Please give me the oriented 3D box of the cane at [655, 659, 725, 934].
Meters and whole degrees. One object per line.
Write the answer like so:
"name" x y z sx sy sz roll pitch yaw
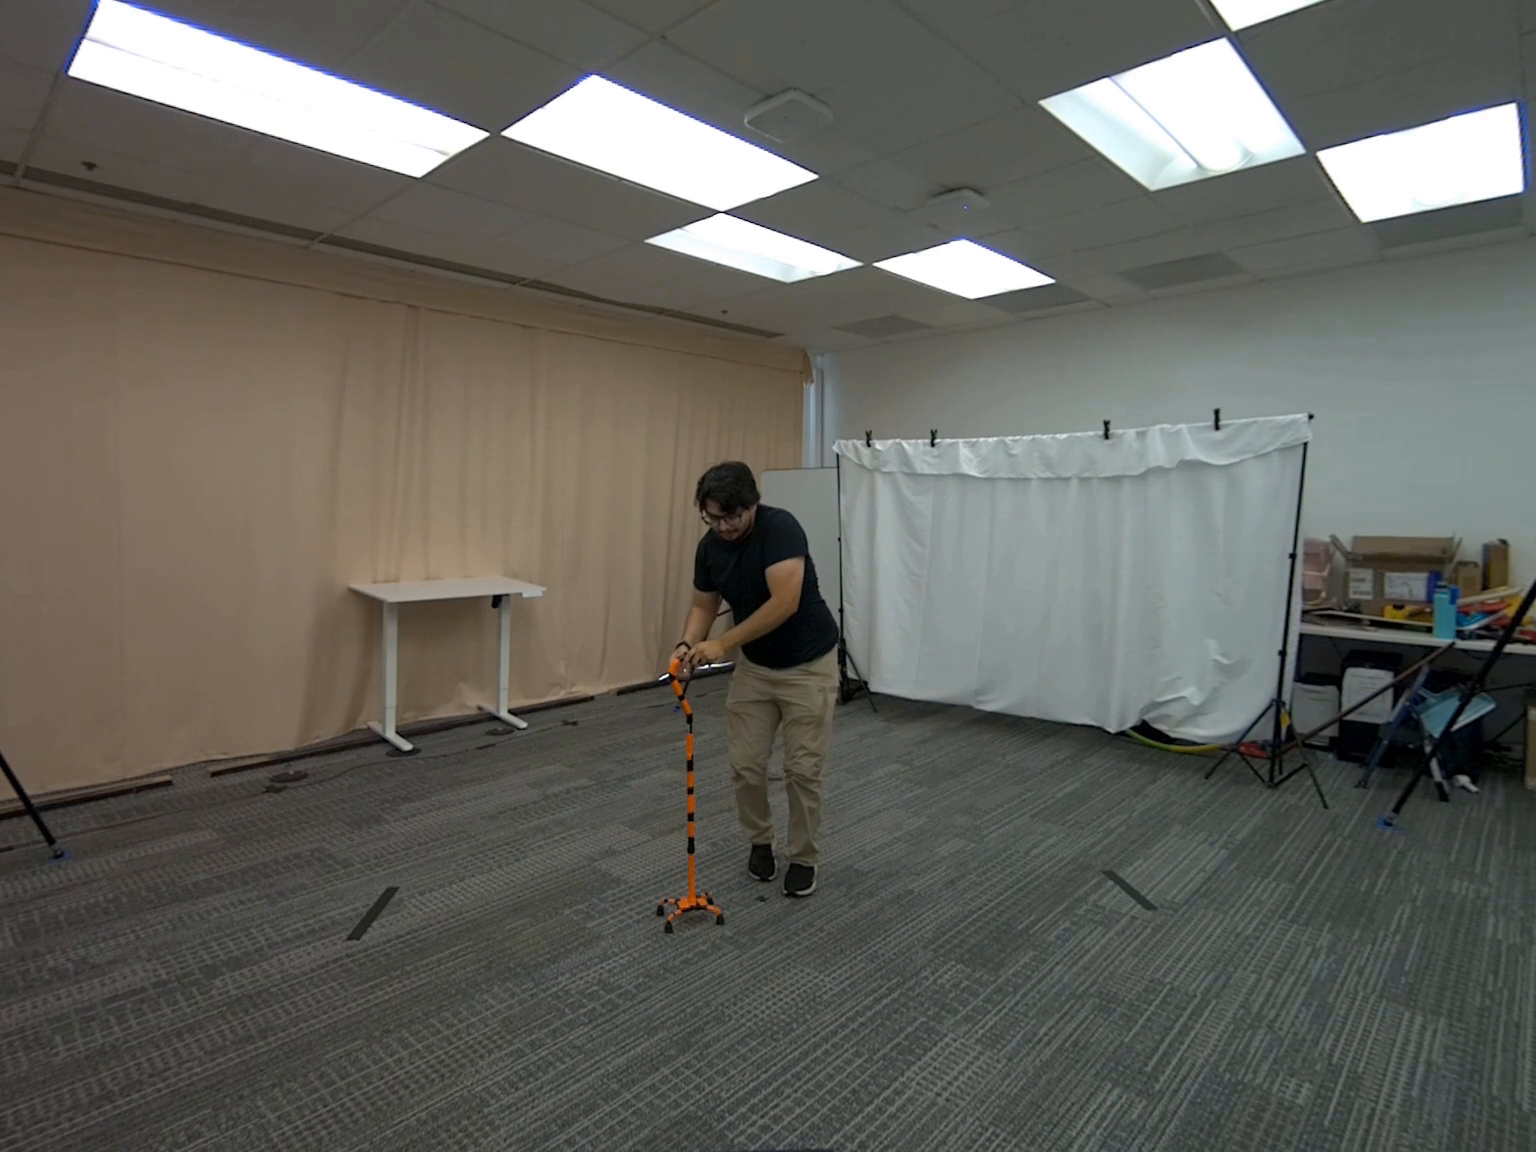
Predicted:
"cane" -0.258 0.712 2.812 0.202 0.906 0.155 -1 4 -19
